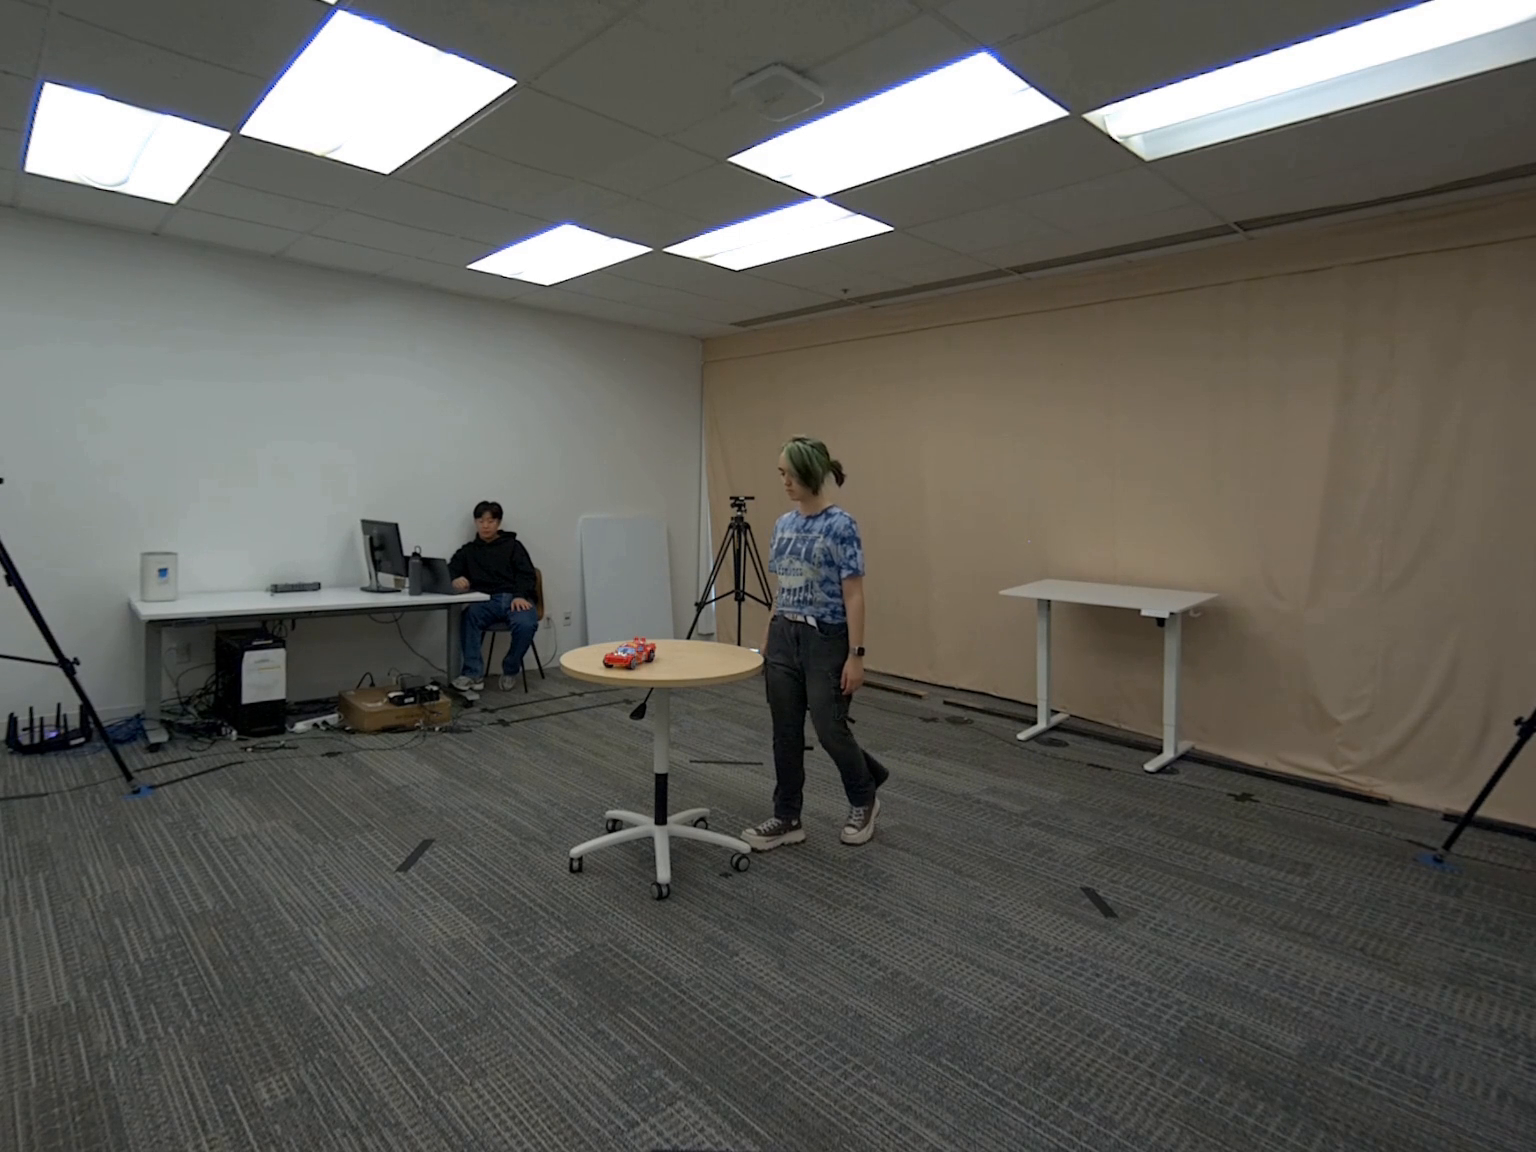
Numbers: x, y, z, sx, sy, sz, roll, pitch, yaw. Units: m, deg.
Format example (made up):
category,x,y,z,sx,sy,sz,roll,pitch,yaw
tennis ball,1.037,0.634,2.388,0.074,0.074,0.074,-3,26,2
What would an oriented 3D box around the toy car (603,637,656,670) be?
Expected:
category,x,y,z,sx,sy,sz,roll,pitch,yaw
toy car,-0.505,0.287,3.056,0.132,0.082,0.253,3,17,18
